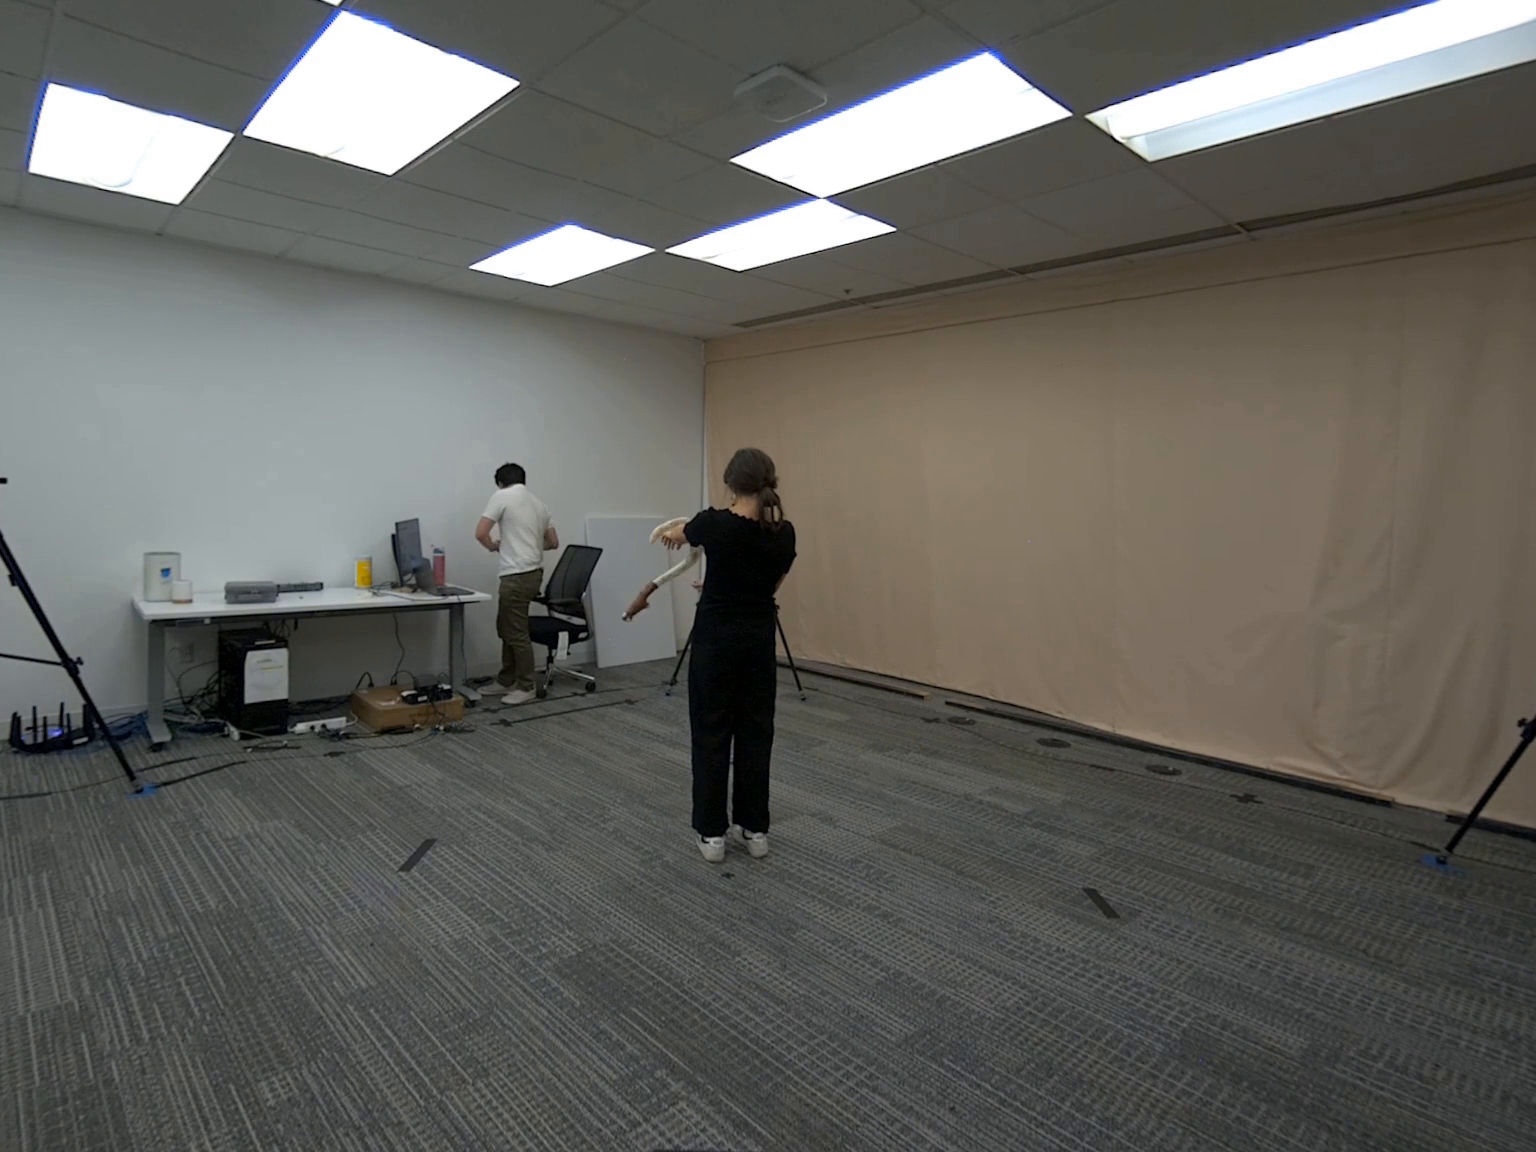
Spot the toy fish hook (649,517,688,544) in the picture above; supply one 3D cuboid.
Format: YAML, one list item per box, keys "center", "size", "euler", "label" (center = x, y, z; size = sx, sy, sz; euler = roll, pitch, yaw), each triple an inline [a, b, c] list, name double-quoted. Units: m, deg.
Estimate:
- center: [-0.468, -0.030, 3.576]
  size: [0.224, 0.507, 0.048]
  euler: [41, -11, 0]
  label: "toy fish hook"
